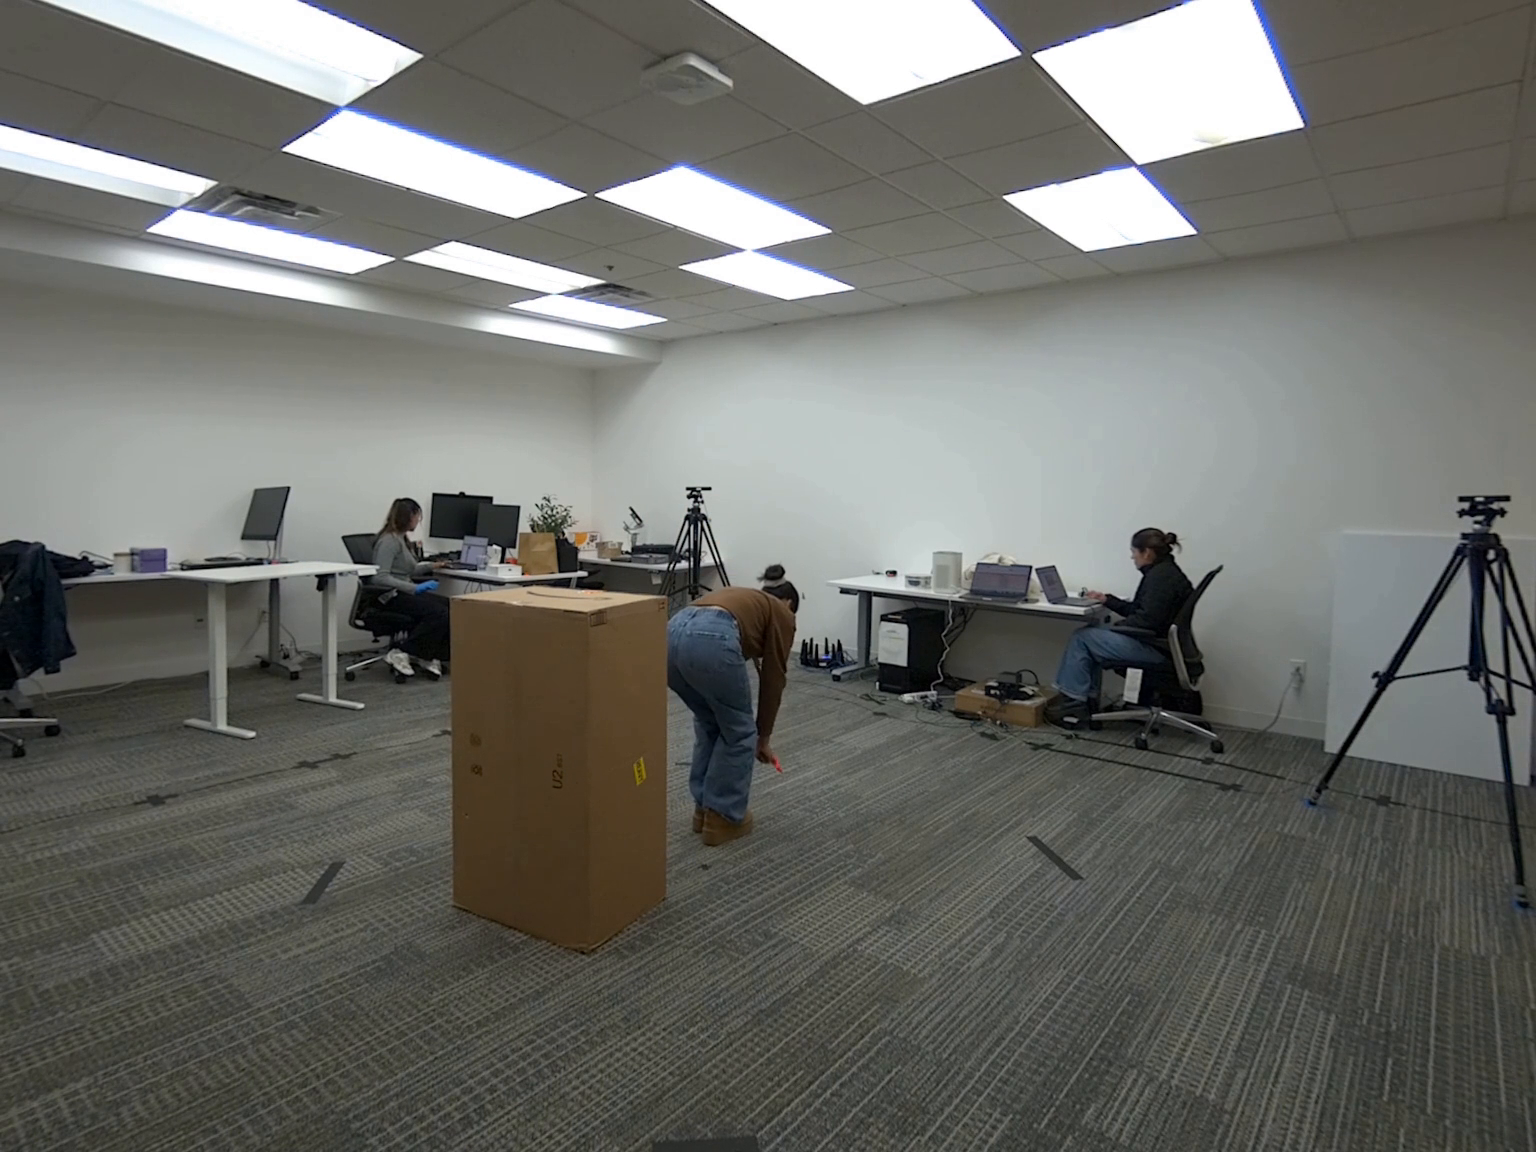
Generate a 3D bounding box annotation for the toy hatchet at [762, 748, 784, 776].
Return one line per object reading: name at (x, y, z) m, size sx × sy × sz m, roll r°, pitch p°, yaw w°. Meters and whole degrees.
toy hatchet at (0.002, 0.801, 3.709) m, size 0.029 × 0.134 × 0.264 m, roll -35°, pitch -12°, yaw 2°
